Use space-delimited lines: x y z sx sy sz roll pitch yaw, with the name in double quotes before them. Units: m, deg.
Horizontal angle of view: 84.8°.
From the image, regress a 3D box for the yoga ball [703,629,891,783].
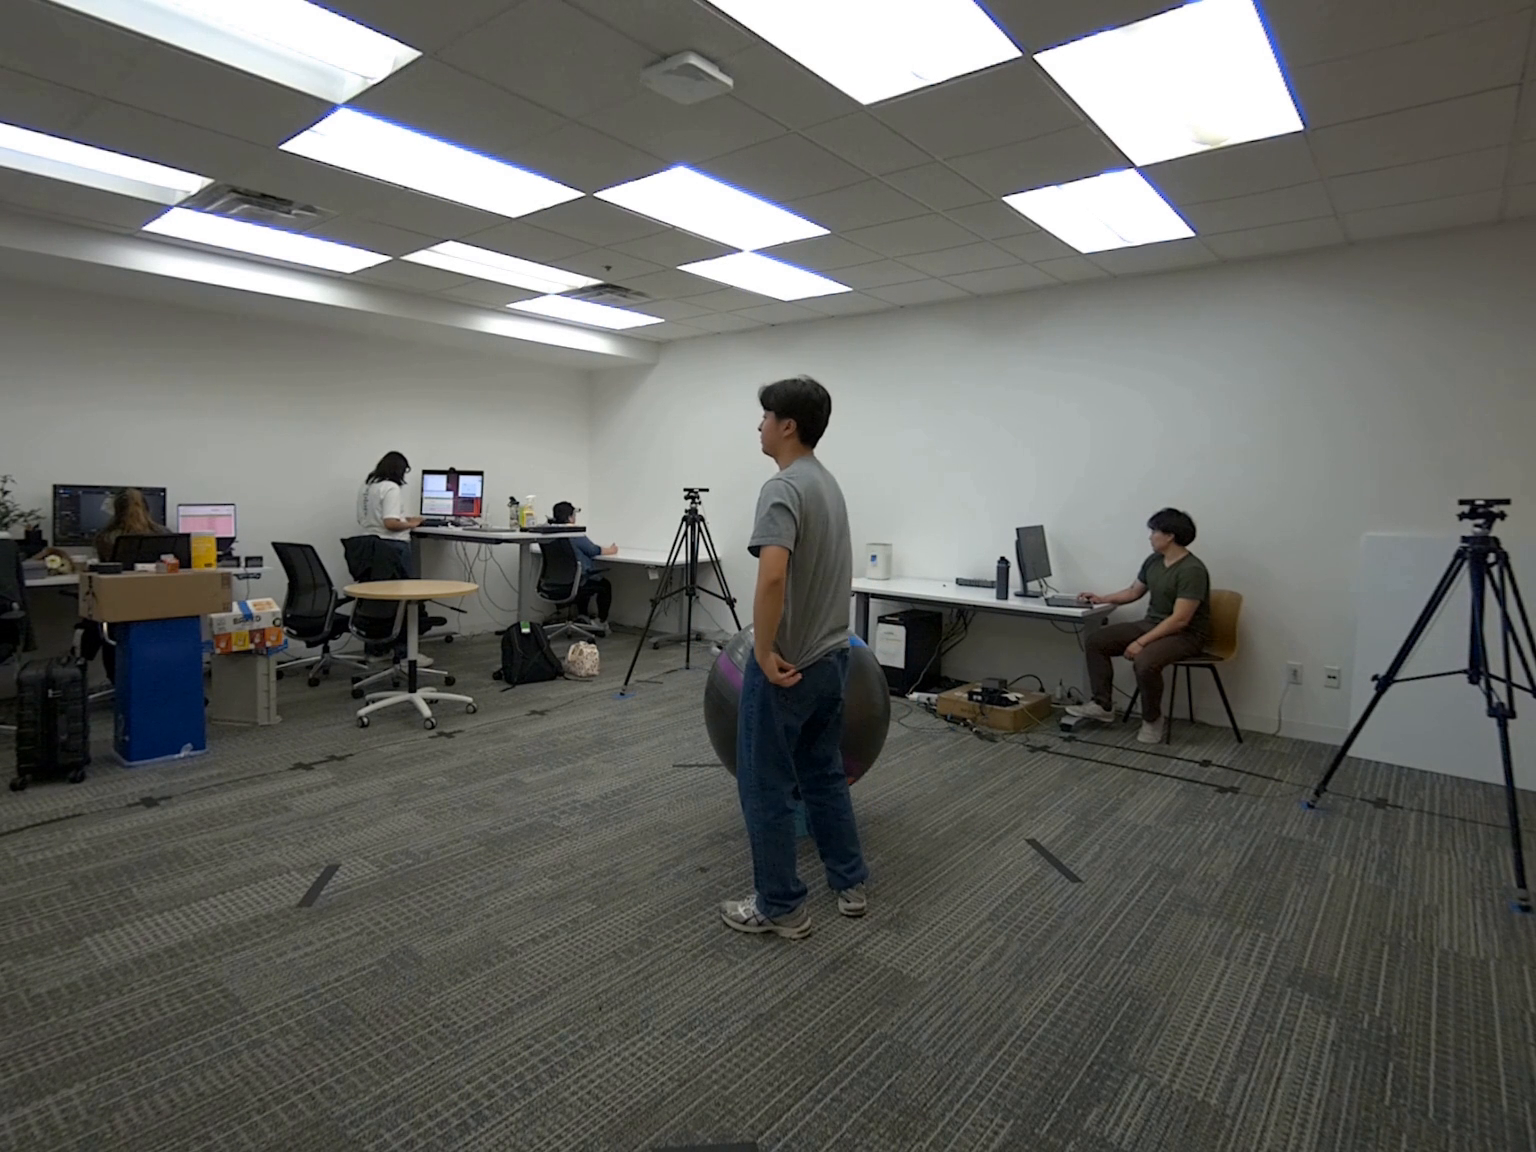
"yoga ball" 0.109 0.534 3.500 0.757 0.756 0.761 1 4 -2
